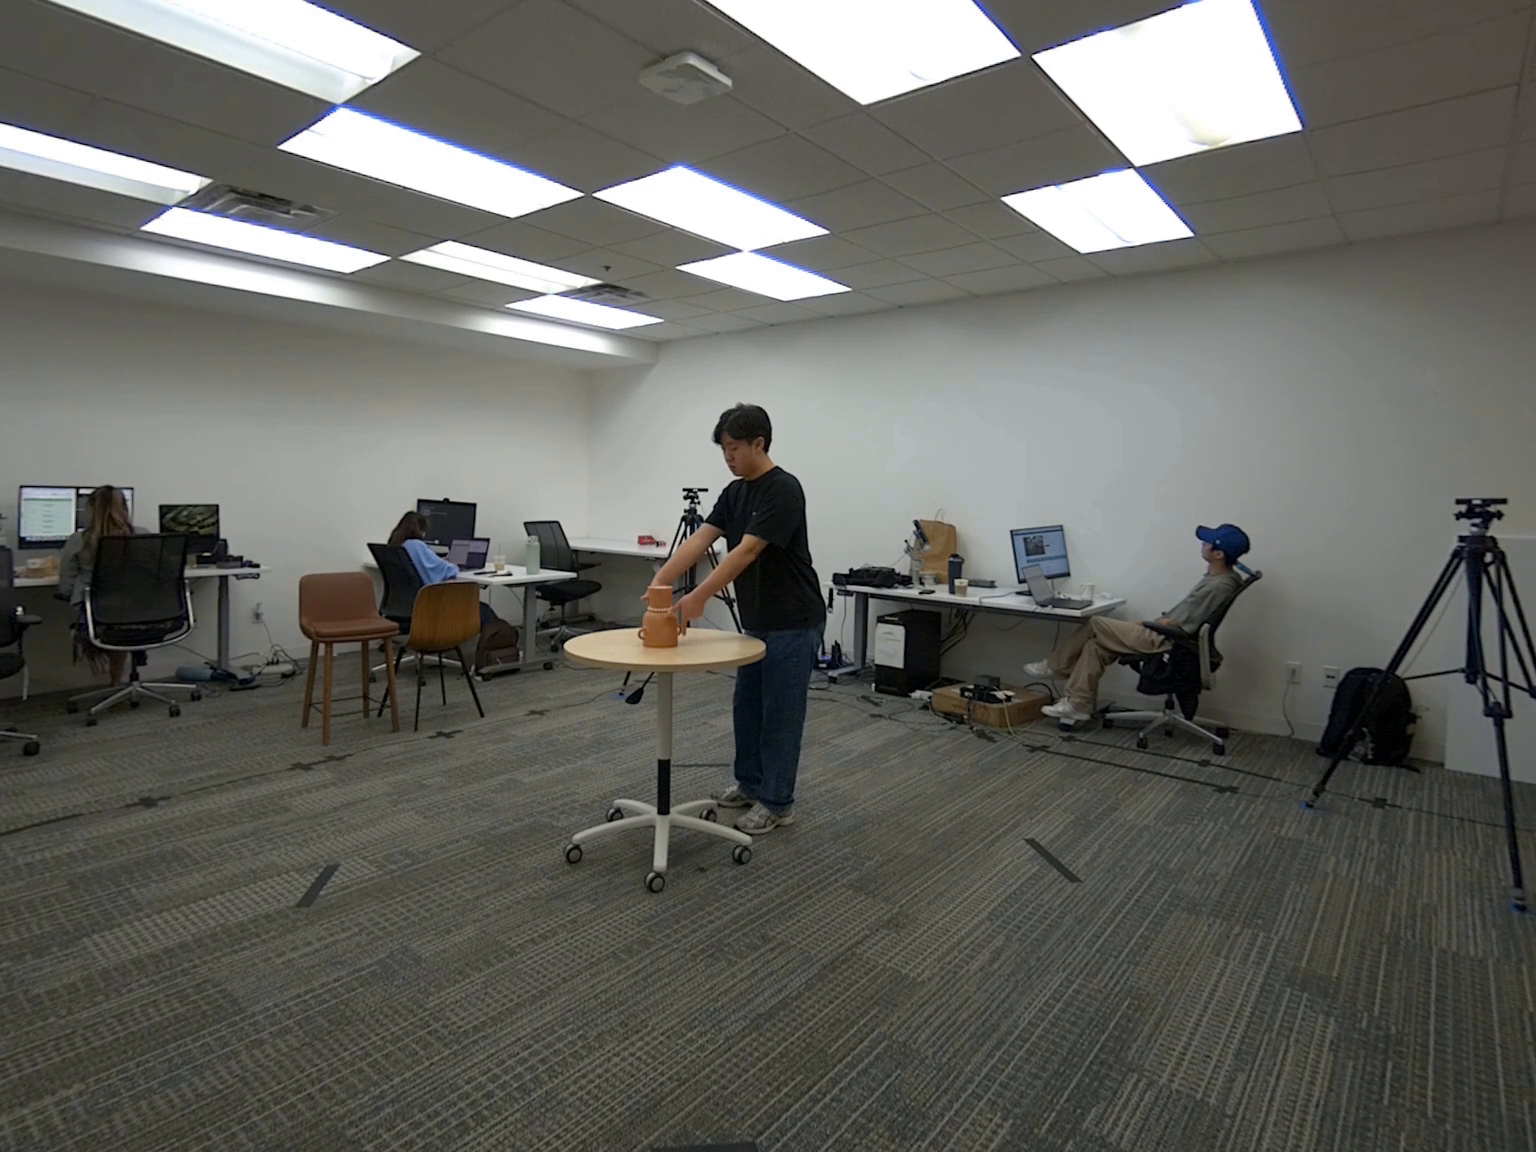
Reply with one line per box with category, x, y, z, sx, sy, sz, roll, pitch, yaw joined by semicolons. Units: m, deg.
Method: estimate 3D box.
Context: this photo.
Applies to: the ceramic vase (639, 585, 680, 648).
ceramic vase;-0.423;0.150;3.225;0.137;0.219;0.157;0;2;13
